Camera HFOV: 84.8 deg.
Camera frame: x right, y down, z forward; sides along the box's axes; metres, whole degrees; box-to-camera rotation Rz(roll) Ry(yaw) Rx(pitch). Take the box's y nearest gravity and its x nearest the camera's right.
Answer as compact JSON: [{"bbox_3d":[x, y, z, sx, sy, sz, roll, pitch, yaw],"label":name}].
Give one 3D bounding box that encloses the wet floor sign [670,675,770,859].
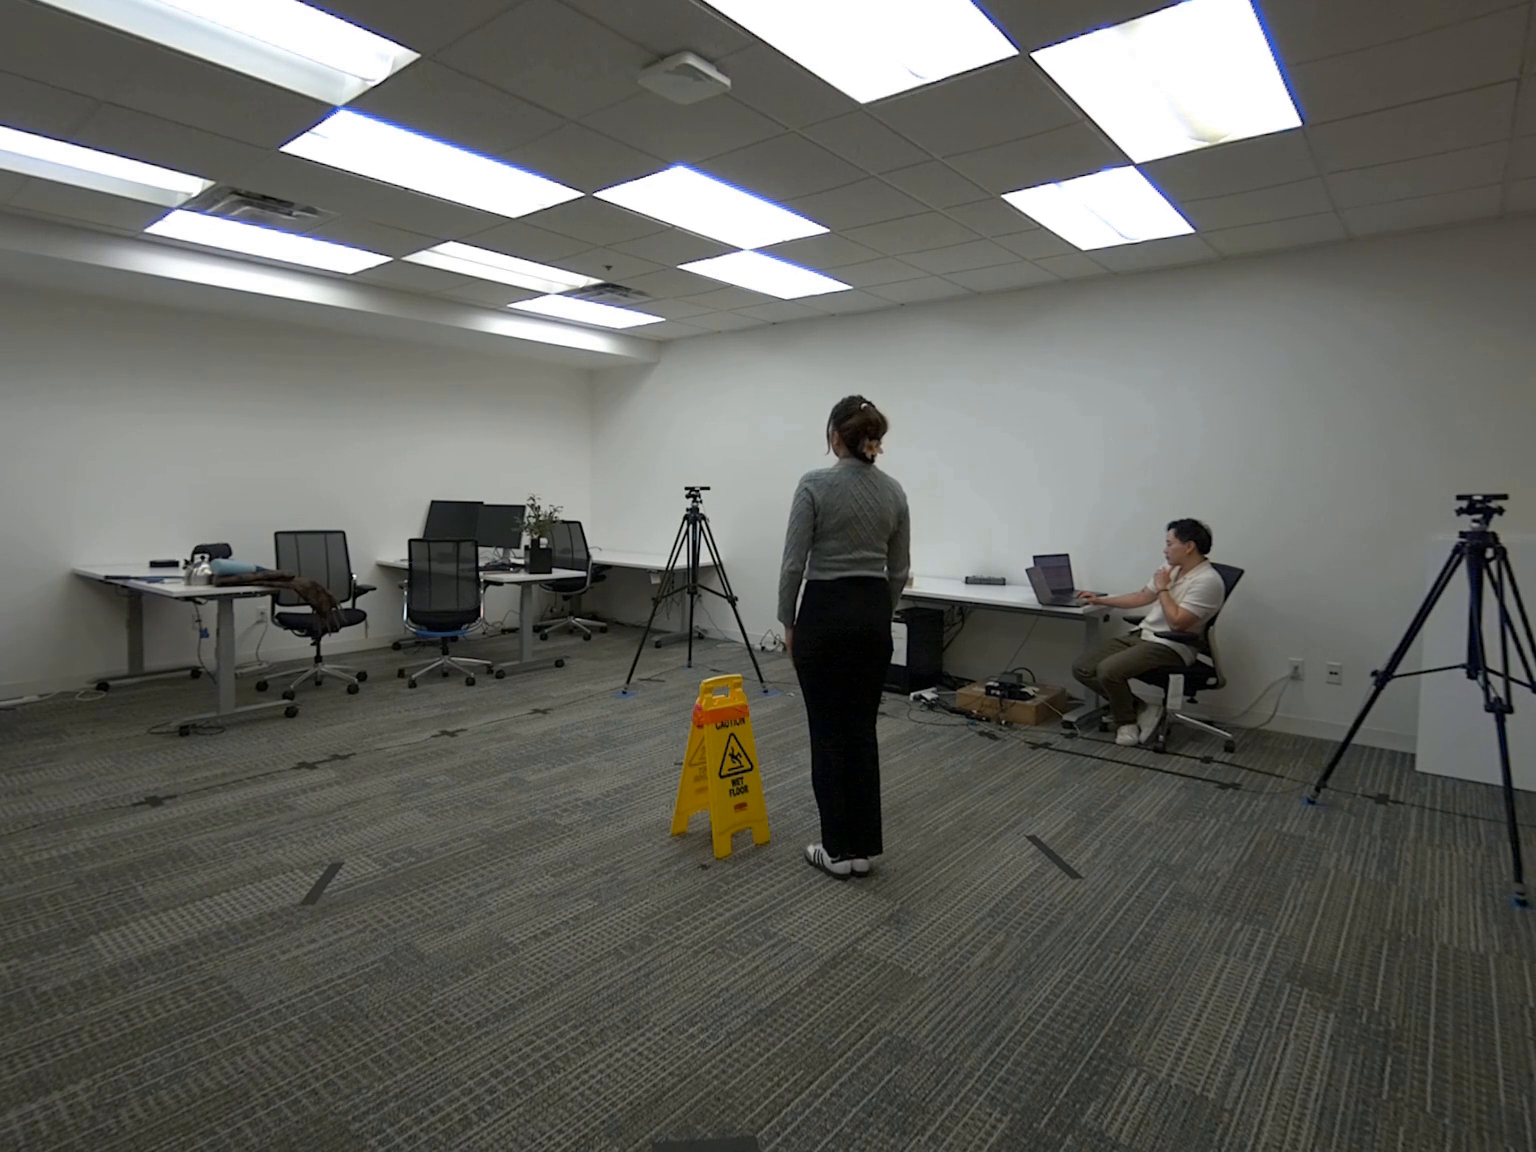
[{"bbox_3d":[-0.198,0.715,3.370,0.273,0.645,0.299,0,3,-41],"label":"wet floor sign"}]
